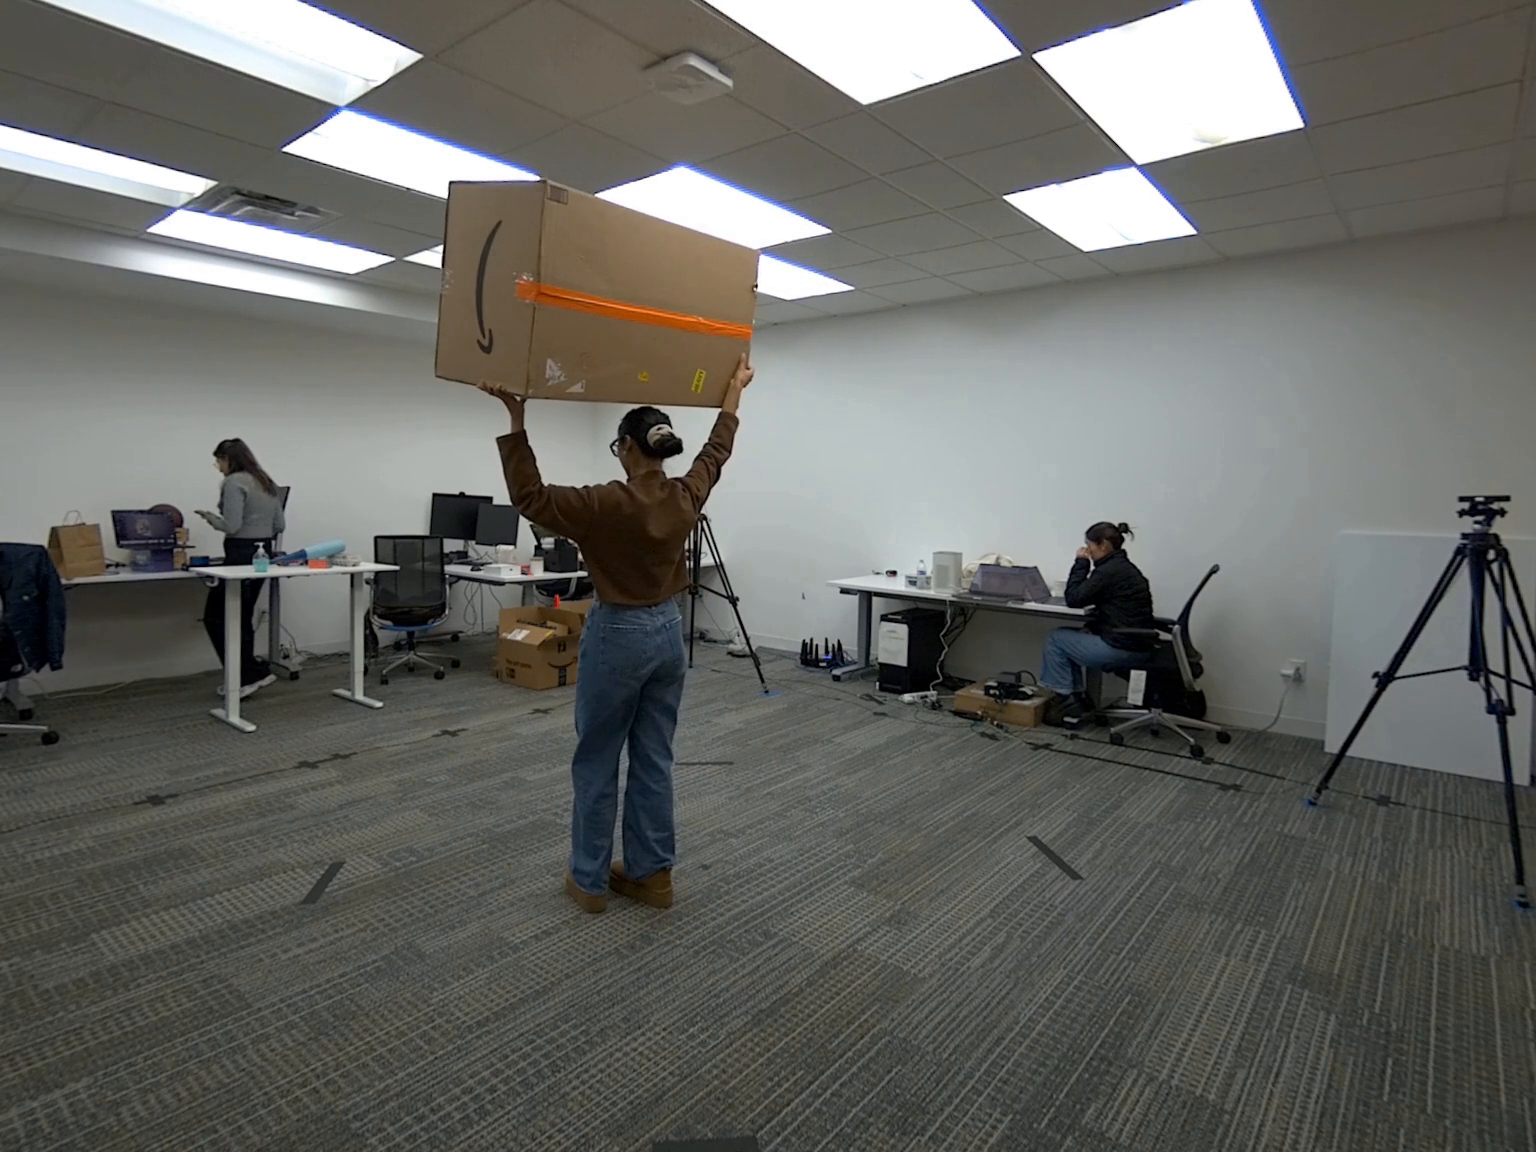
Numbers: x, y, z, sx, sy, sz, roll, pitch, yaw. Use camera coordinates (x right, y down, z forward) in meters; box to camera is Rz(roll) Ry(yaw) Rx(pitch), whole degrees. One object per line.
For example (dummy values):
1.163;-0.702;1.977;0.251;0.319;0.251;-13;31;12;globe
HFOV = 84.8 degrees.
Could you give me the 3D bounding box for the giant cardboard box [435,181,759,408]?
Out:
-0.530;-0.882;2.809;0.442;0.571;1.000;18;16;32;giant cardboard box
